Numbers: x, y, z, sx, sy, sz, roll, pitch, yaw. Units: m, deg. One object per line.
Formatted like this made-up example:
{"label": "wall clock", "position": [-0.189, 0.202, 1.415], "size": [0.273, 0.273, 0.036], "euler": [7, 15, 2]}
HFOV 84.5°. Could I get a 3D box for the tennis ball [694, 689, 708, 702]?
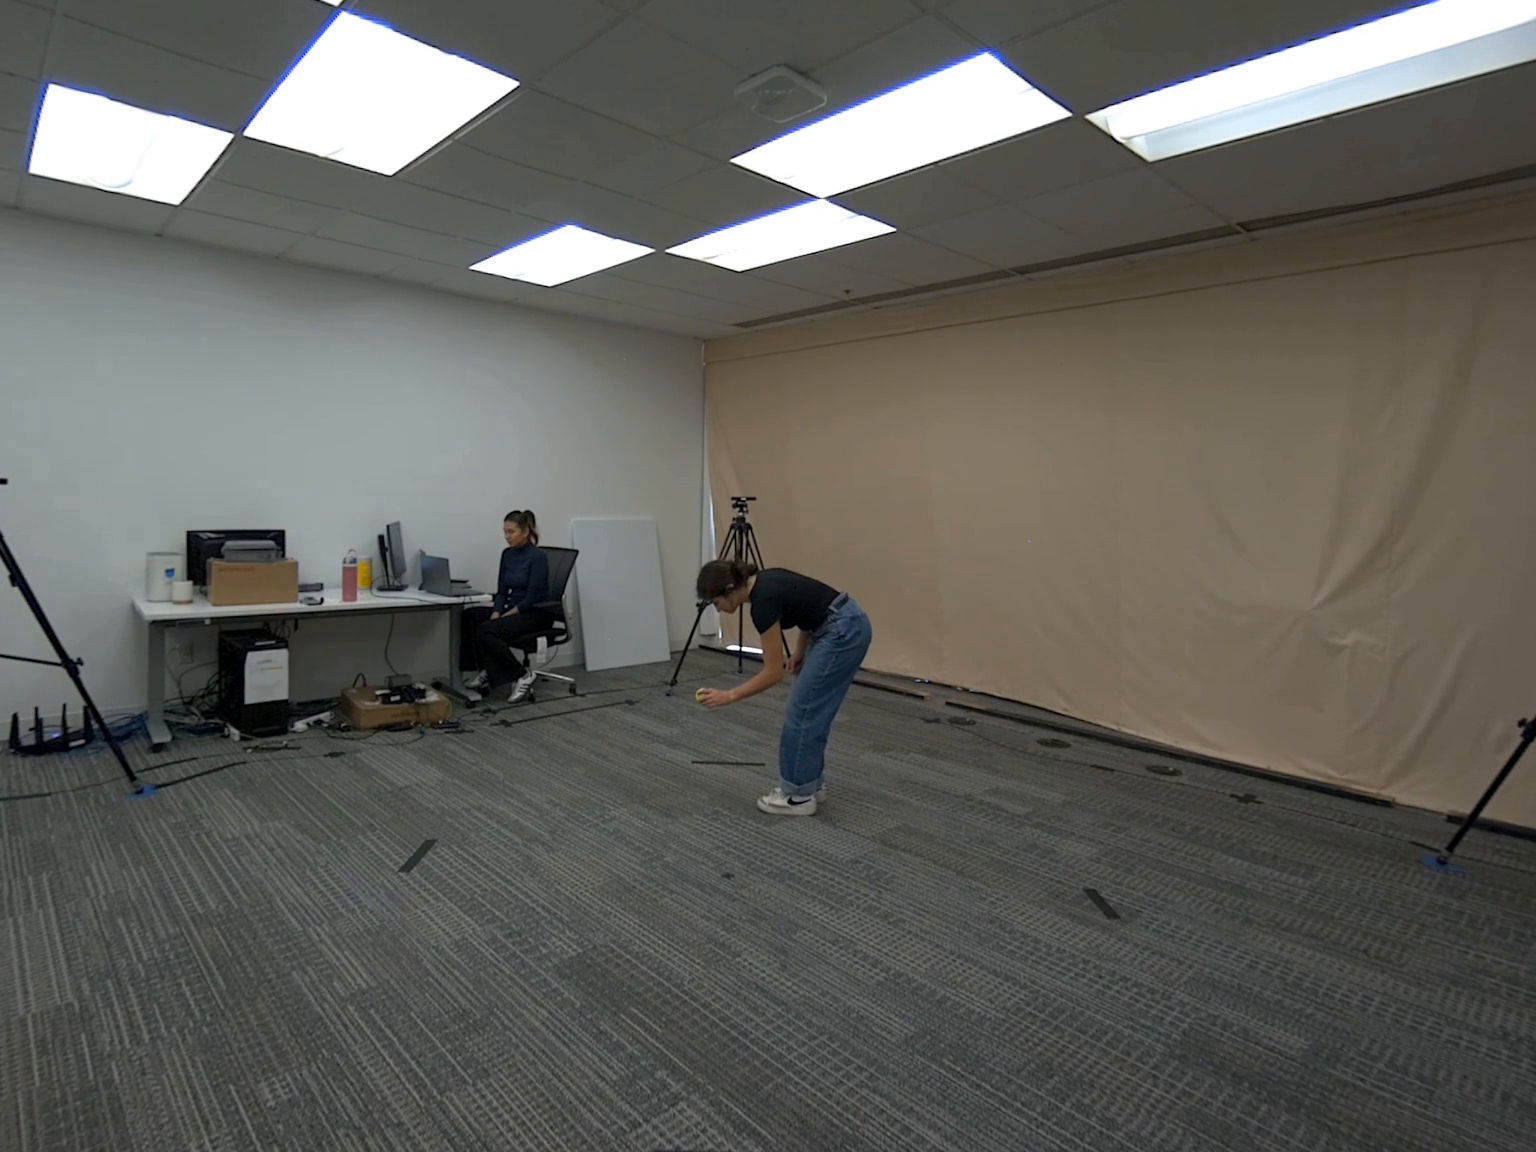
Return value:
{"label": "tennis ball", "position": [-0.255, 0.530, 3.629], "size": [0.066, 0.066, 0.067], "euler": [1, 4, -1]}
